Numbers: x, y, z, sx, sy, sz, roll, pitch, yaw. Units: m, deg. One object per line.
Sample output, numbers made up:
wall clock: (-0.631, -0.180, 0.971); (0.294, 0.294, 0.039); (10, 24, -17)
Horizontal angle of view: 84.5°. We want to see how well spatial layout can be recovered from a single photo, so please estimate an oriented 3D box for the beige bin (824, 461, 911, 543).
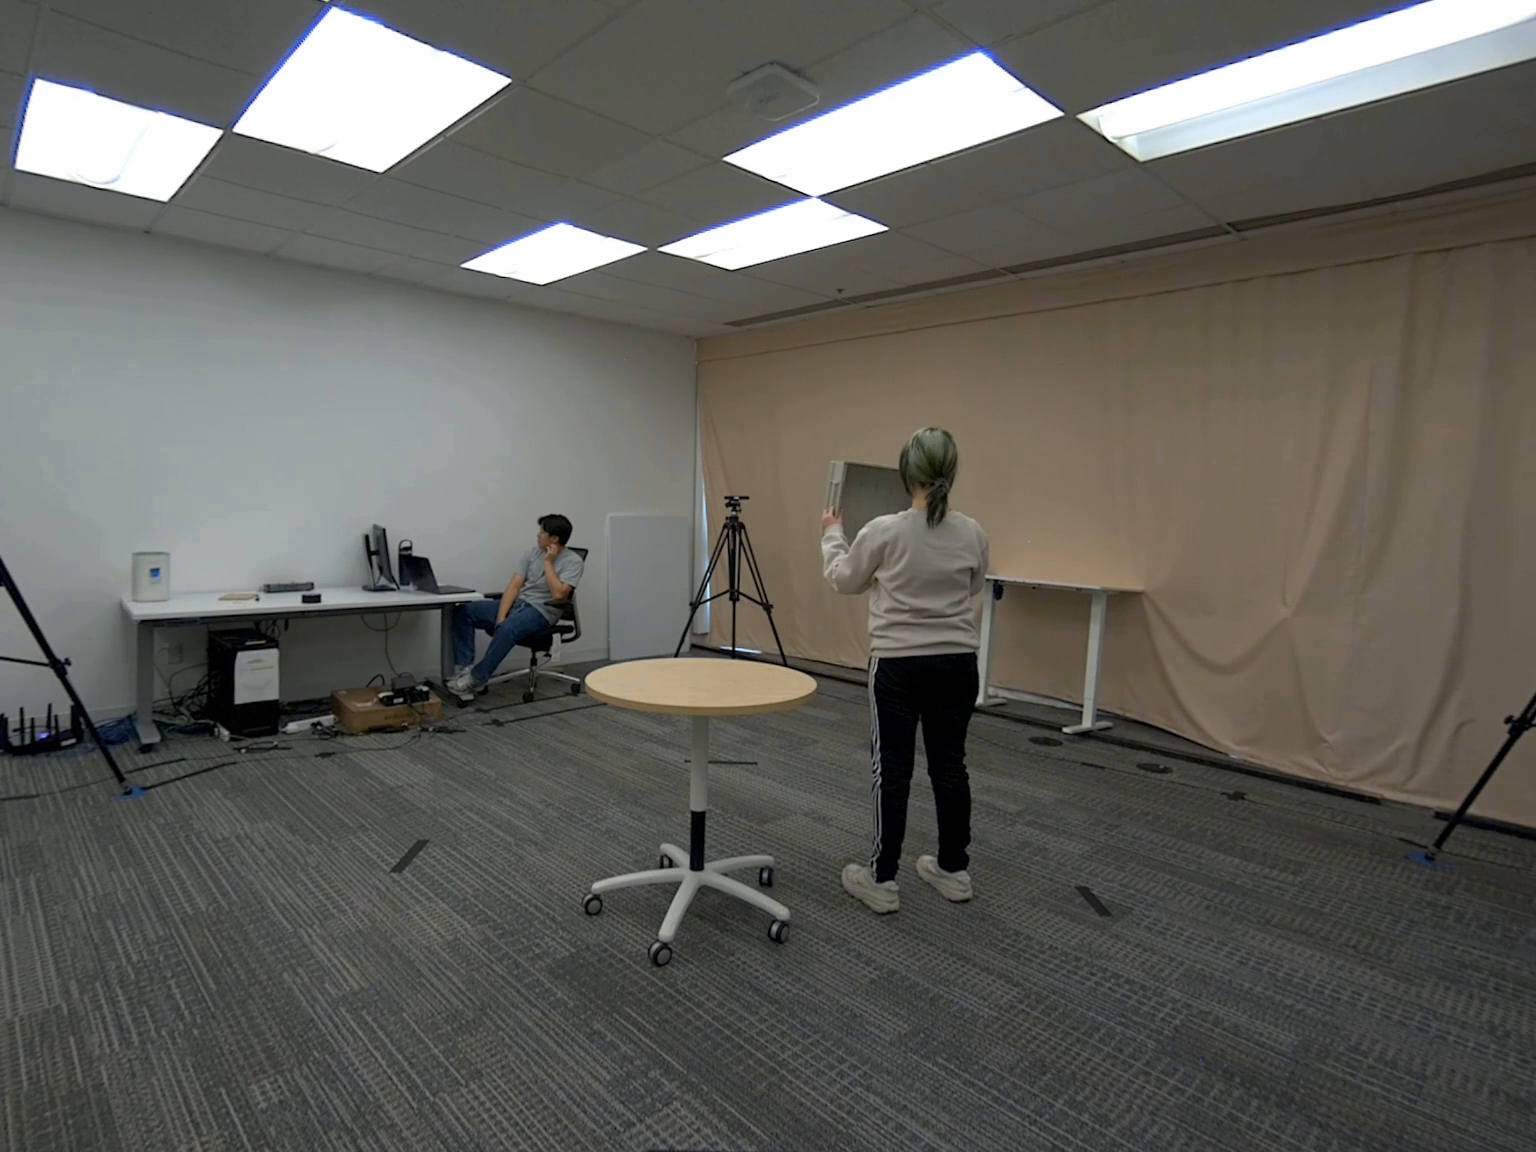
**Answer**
beige bin: (0.440, -0.250, 3.340); (0.417, 0.376, 0.192); (6, 7, -14)
